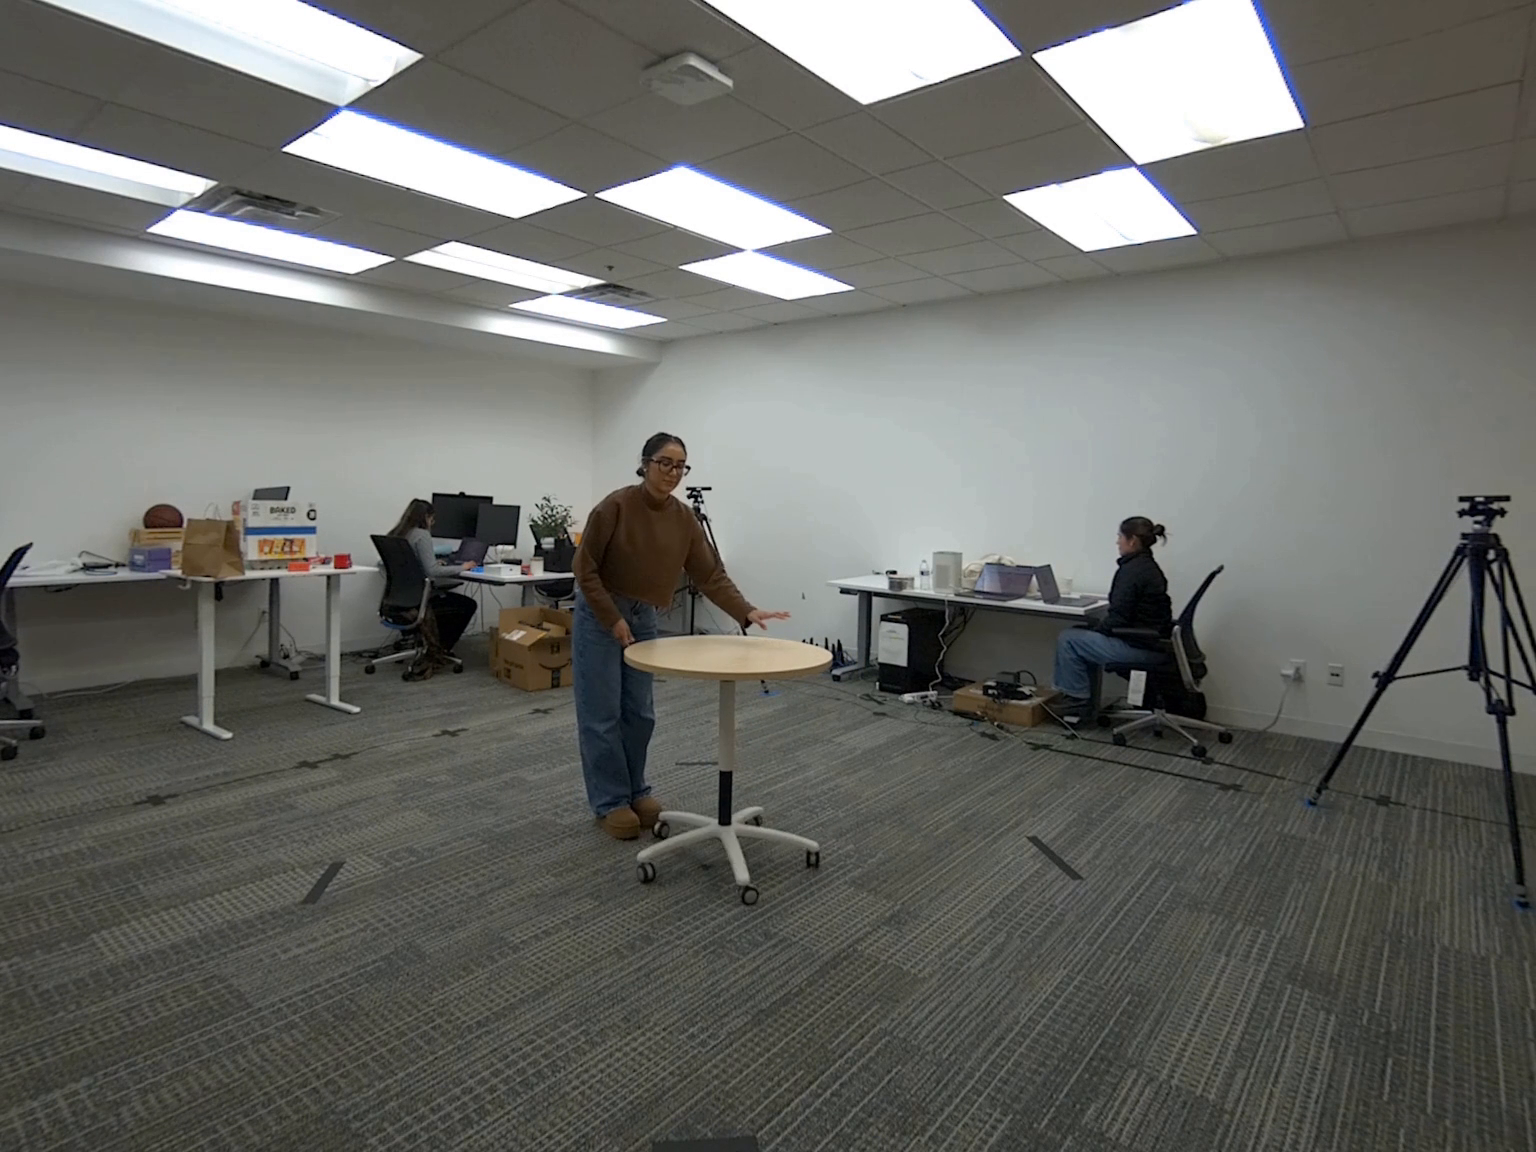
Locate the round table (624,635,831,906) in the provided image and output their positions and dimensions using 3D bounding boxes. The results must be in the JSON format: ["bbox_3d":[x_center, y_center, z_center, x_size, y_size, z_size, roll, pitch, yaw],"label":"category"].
[{"bbox_3d":[-0.160,0.672,3.153,0.763,0.792,0.767,1,4,-2],"label":"round table"}]
